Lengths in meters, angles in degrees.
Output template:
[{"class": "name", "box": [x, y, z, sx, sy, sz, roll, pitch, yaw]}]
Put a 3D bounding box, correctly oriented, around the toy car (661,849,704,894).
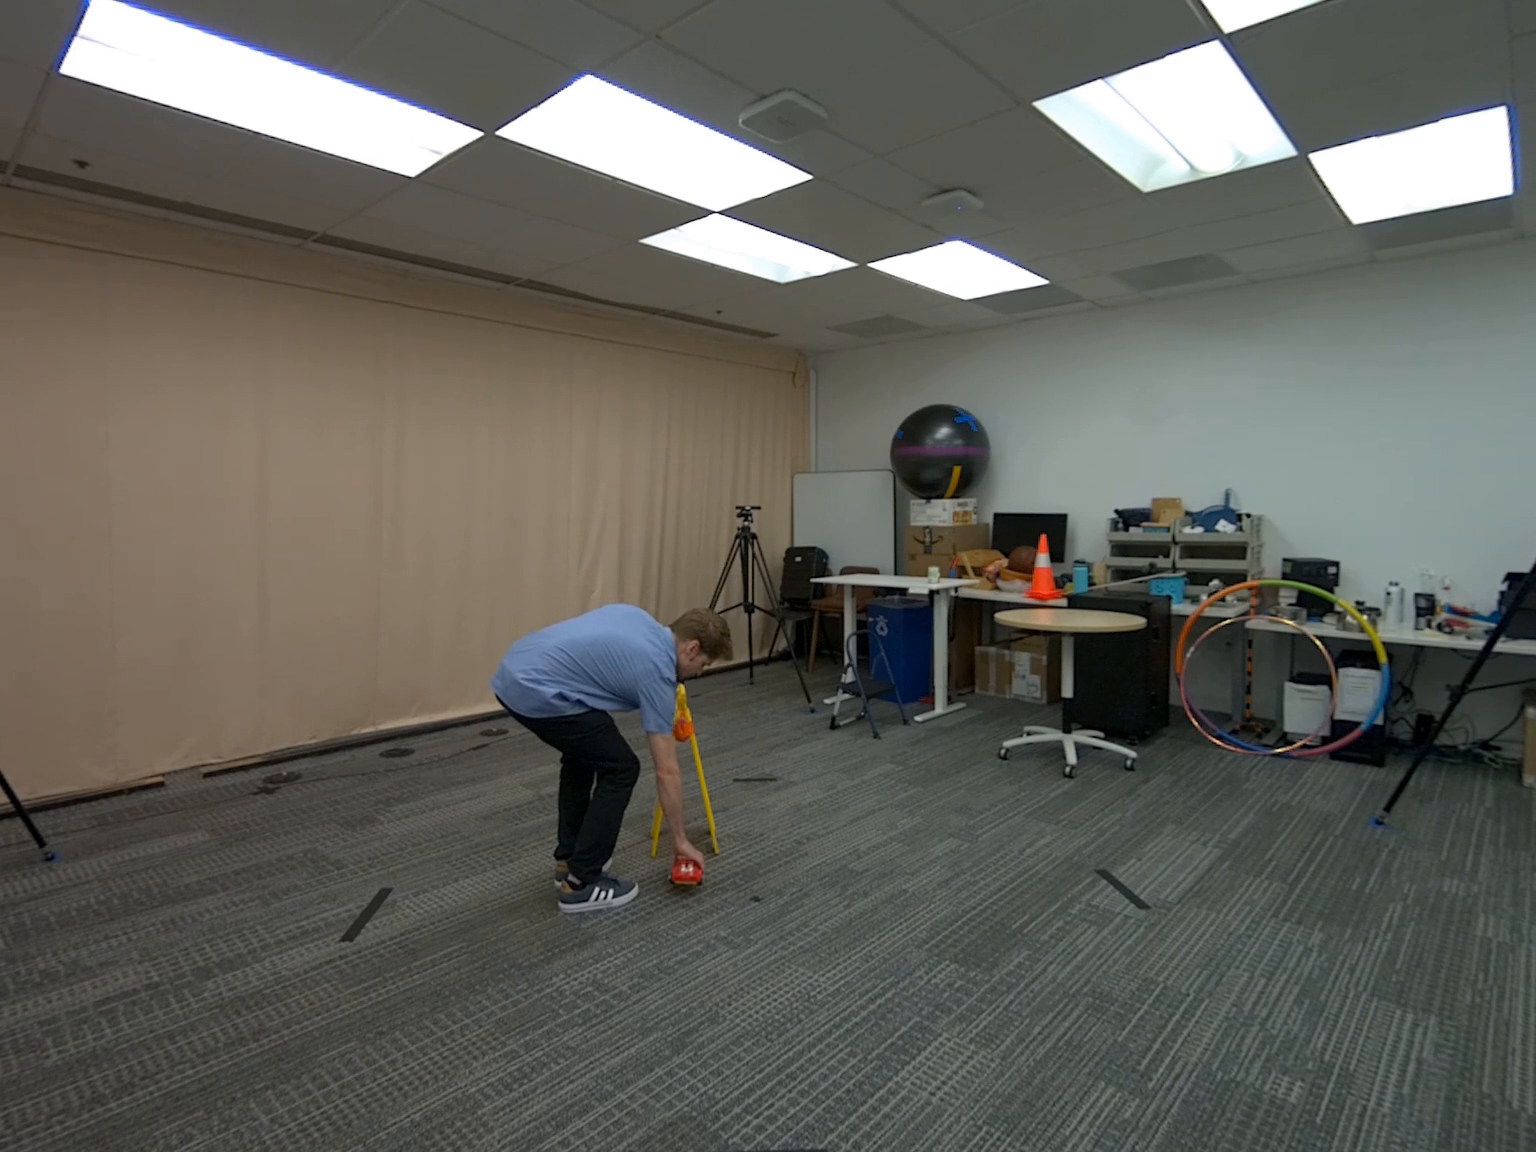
[{"class": "toy car", "box": [-0.313, 1.060, 3.052, 0.129, 0.083, 0.255, 7, -7, -7]}]
